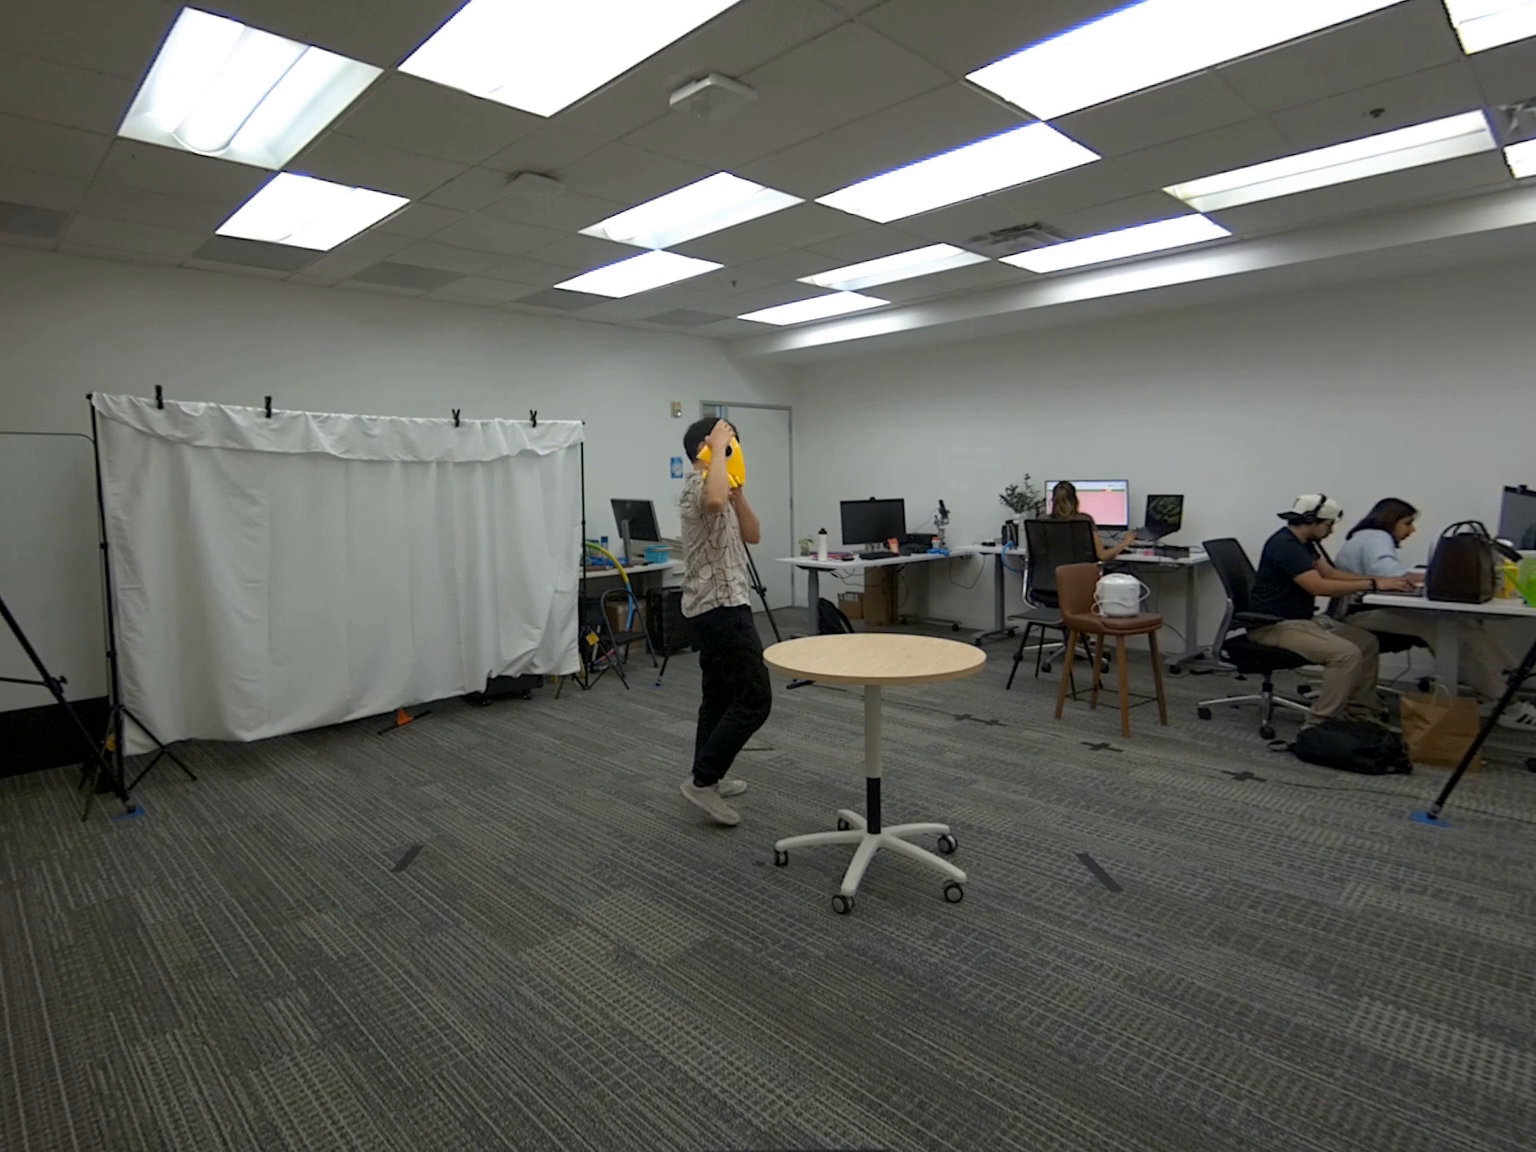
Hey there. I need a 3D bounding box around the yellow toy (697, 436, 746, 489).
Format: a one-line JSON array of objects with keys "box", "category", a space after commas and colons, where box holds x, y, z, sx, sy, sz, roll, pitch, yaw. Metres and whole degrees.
[{"box": [-0.159, -0.497, 3.452, 0.196, 0.229, 0.203, 17, 13, 11], "category": "yellow toy"}]
